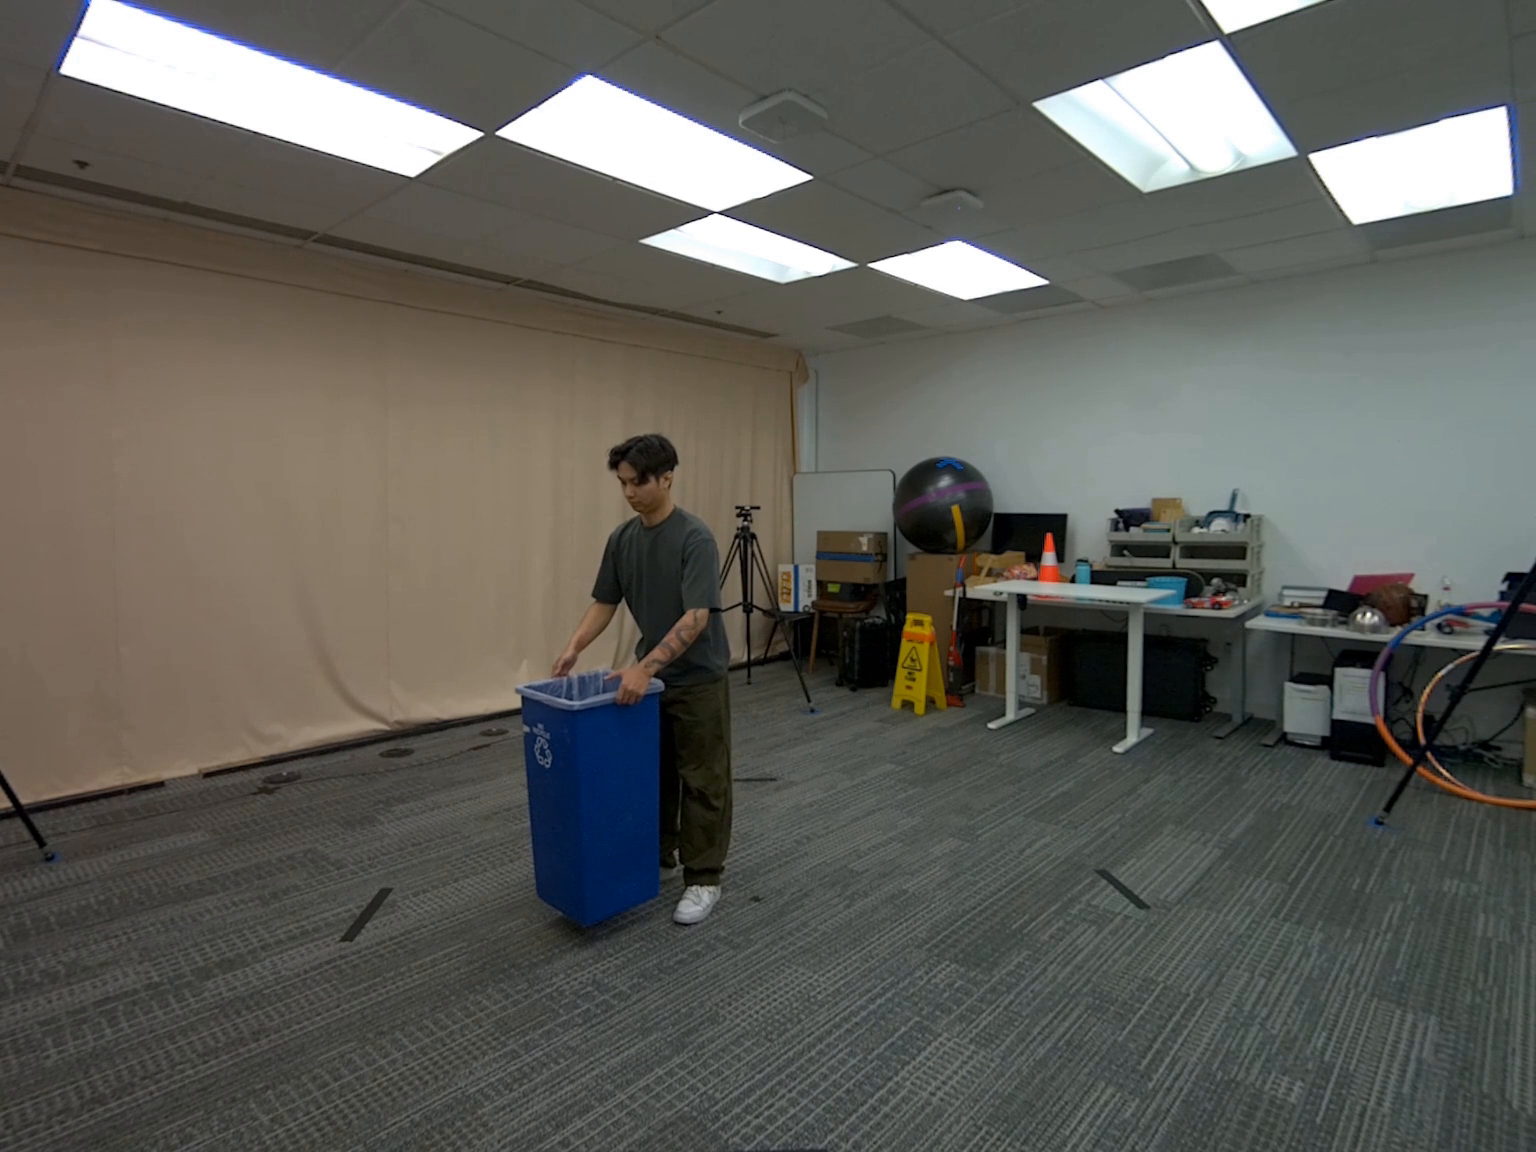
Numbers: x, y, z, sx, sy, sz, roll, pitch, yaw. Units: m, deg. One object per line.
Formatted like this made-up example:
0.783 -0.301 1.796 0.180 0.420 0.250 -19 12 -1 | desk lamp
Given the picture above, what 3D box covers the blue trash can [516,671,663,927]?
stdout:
-0.571 0.711 2.784 0.367 0.712 0.386 -6 5 -44 | blue trash can
